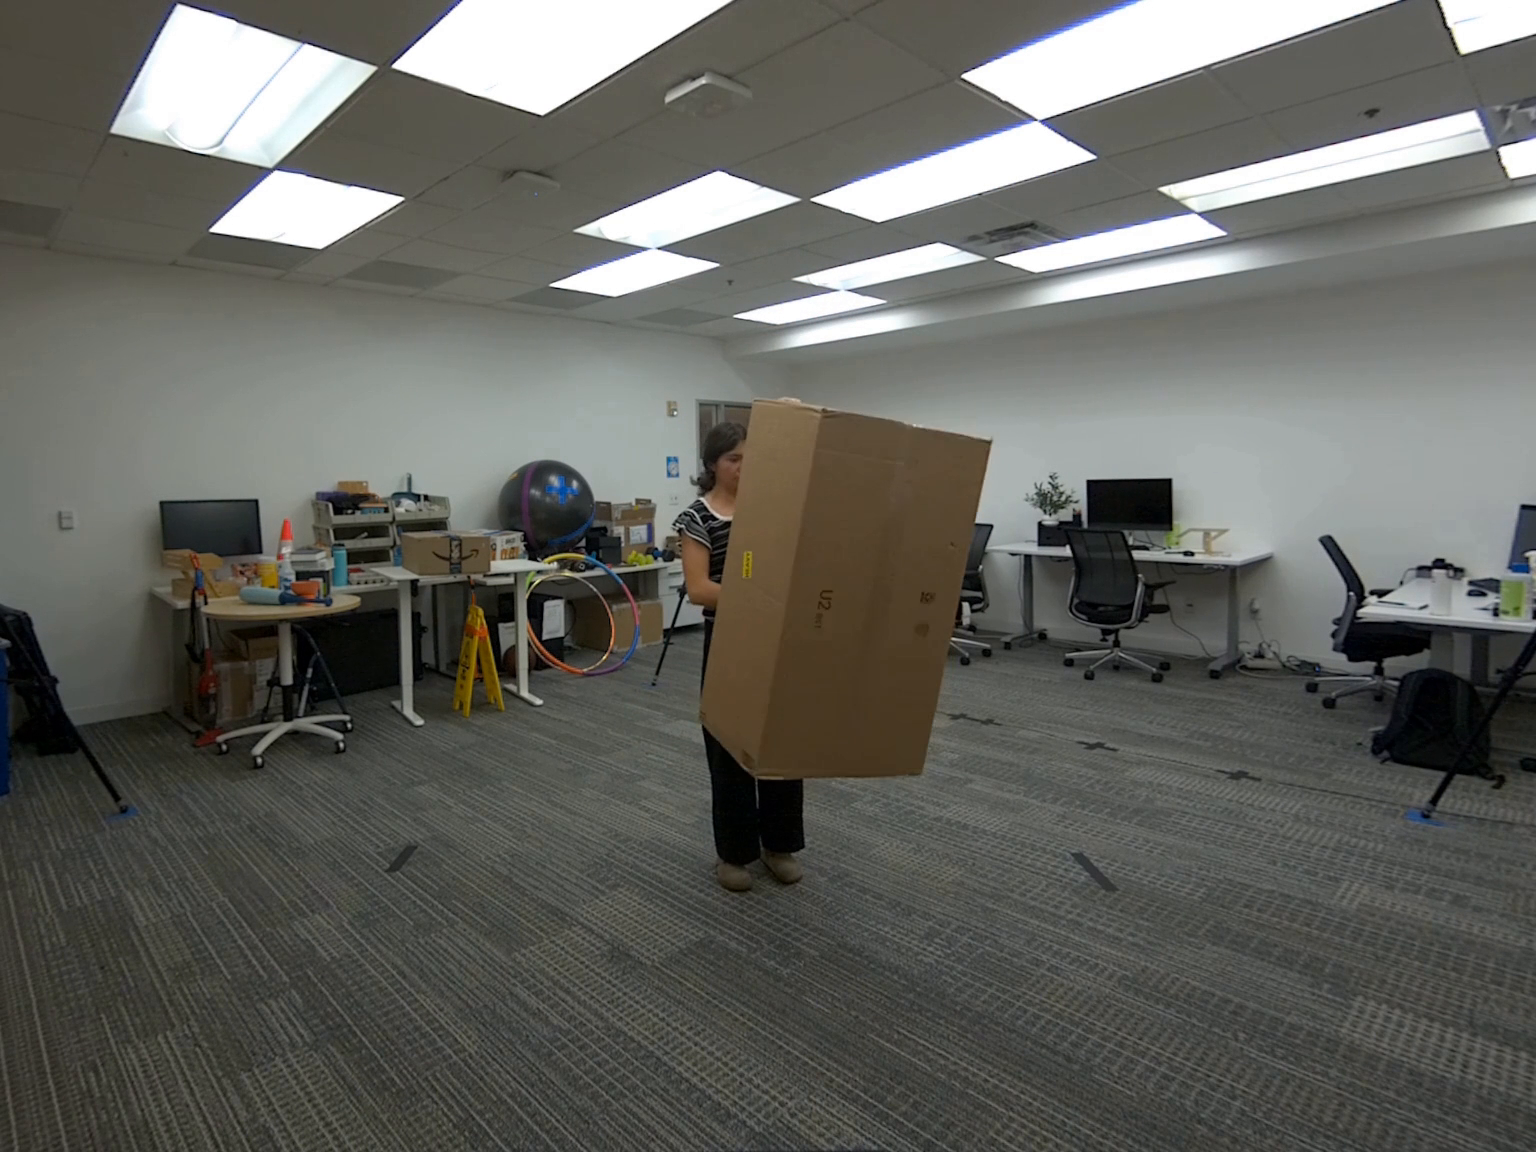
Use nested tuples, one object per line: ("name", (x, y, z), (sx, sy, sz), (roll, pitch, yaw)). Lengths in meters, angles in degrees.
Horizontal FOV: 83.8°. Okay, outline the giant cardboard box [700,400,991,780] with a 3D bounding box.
("giant cardboard box", (0.212, 0.031, 2.564), (0.563, 1.019, 0.439), (6, 9, -26))
